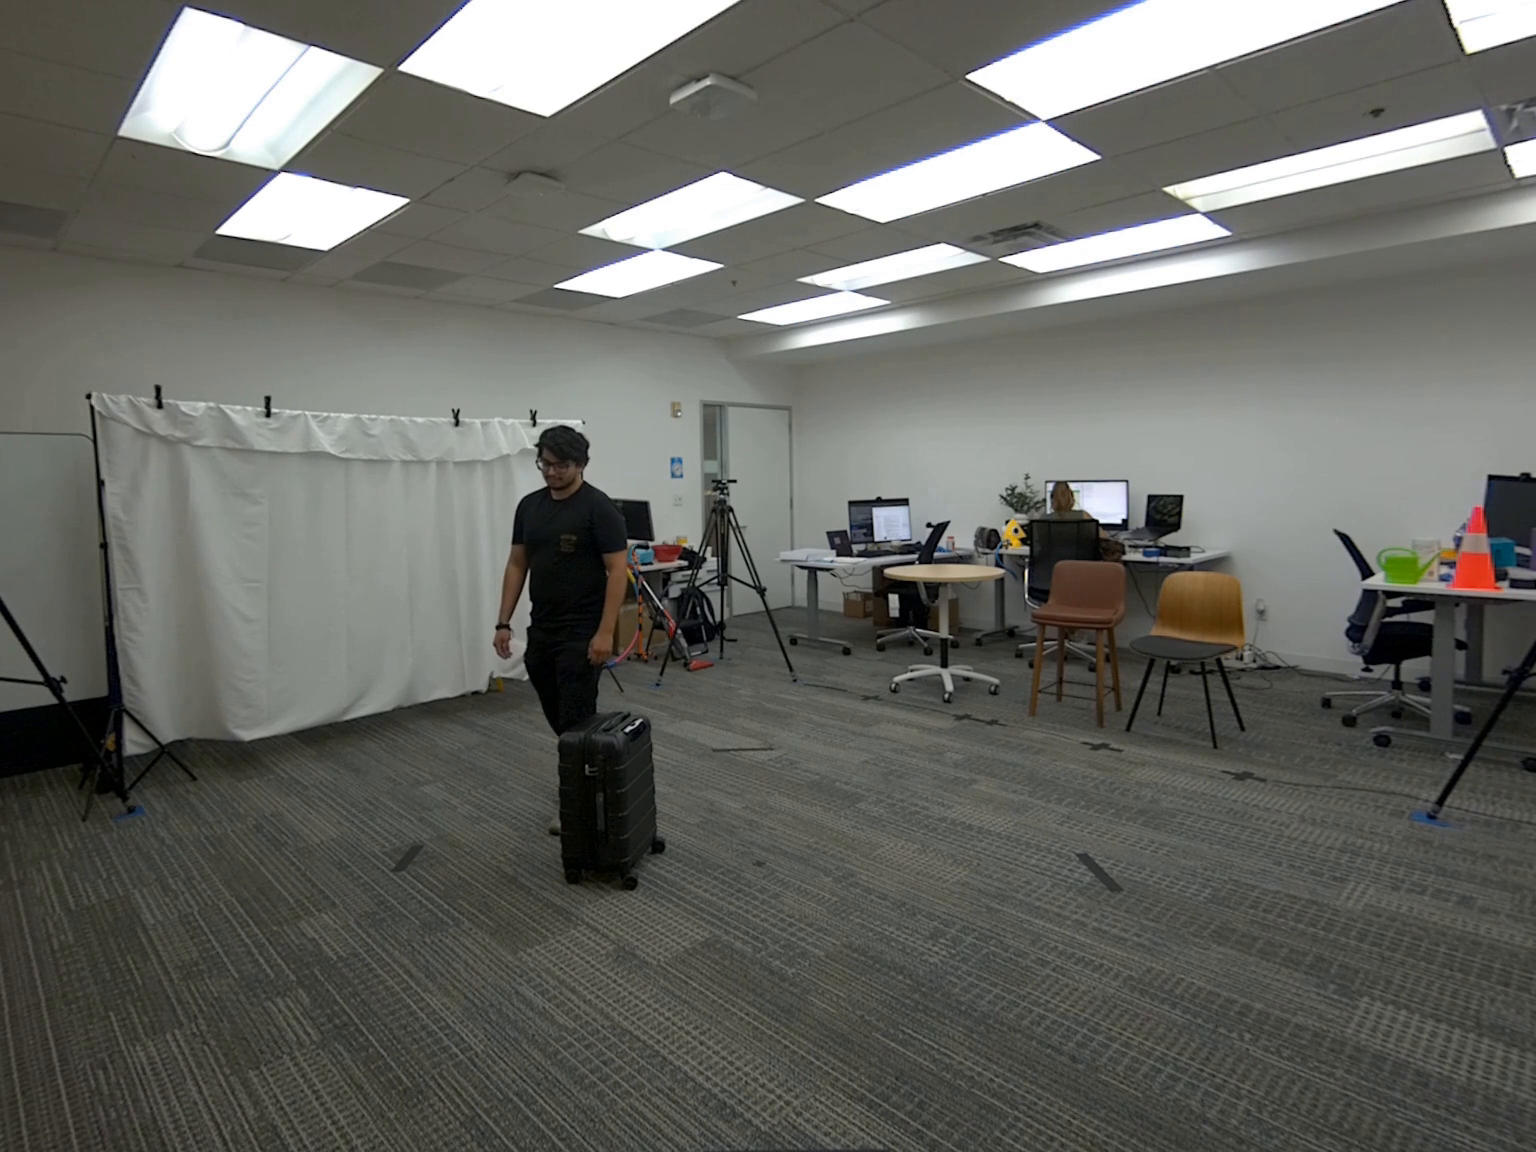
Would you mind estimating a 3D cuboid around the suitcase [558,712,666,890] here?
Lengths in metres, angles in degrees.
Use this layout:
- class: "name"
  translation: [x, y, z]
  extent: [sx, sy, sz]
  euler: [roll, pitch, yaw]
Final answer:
- class: "suitcase"
  translation: [-0.571, 0.783, 3.088]
  extent: [0.252, 0.547, 0.371]
  euler: [-2, 4, 14]
